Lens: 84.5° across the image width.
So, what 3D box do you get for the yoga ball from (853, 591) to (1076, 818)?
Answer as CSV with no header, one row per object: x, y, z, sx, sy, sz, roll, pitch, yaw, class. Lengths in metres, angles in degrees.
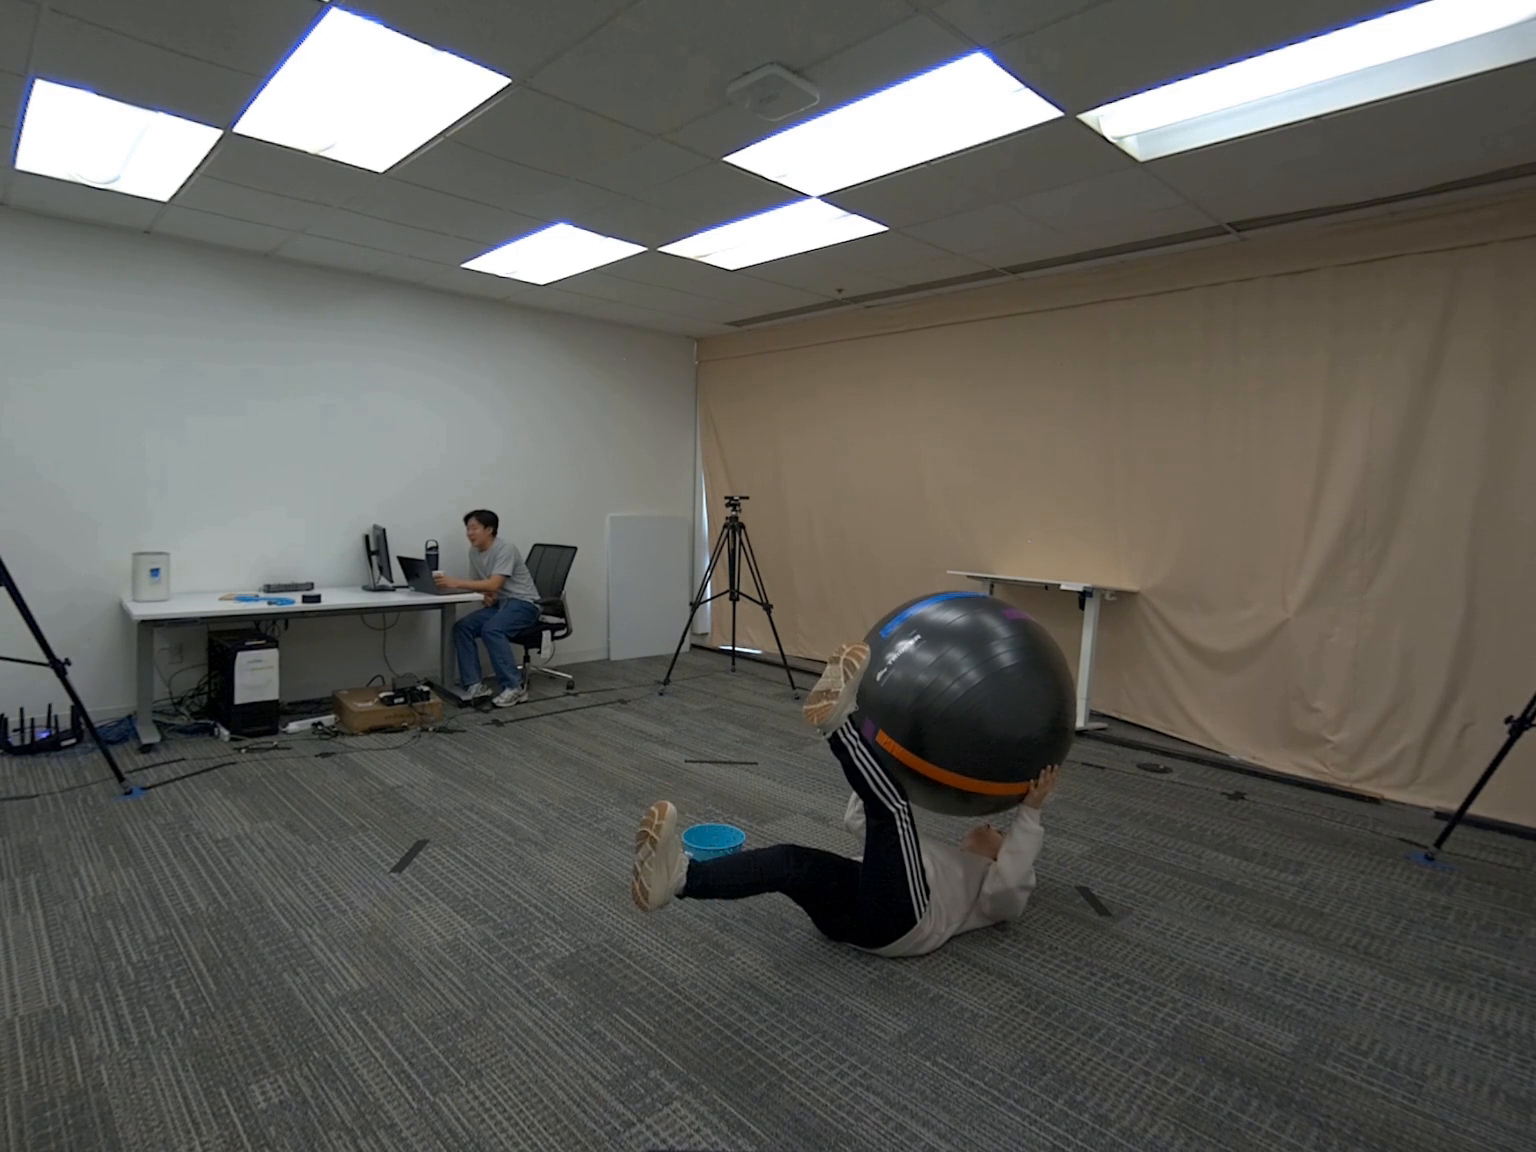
0.653,0.432,2.885,0.757,0.756,0.761,1,4,-1,yoga ball
